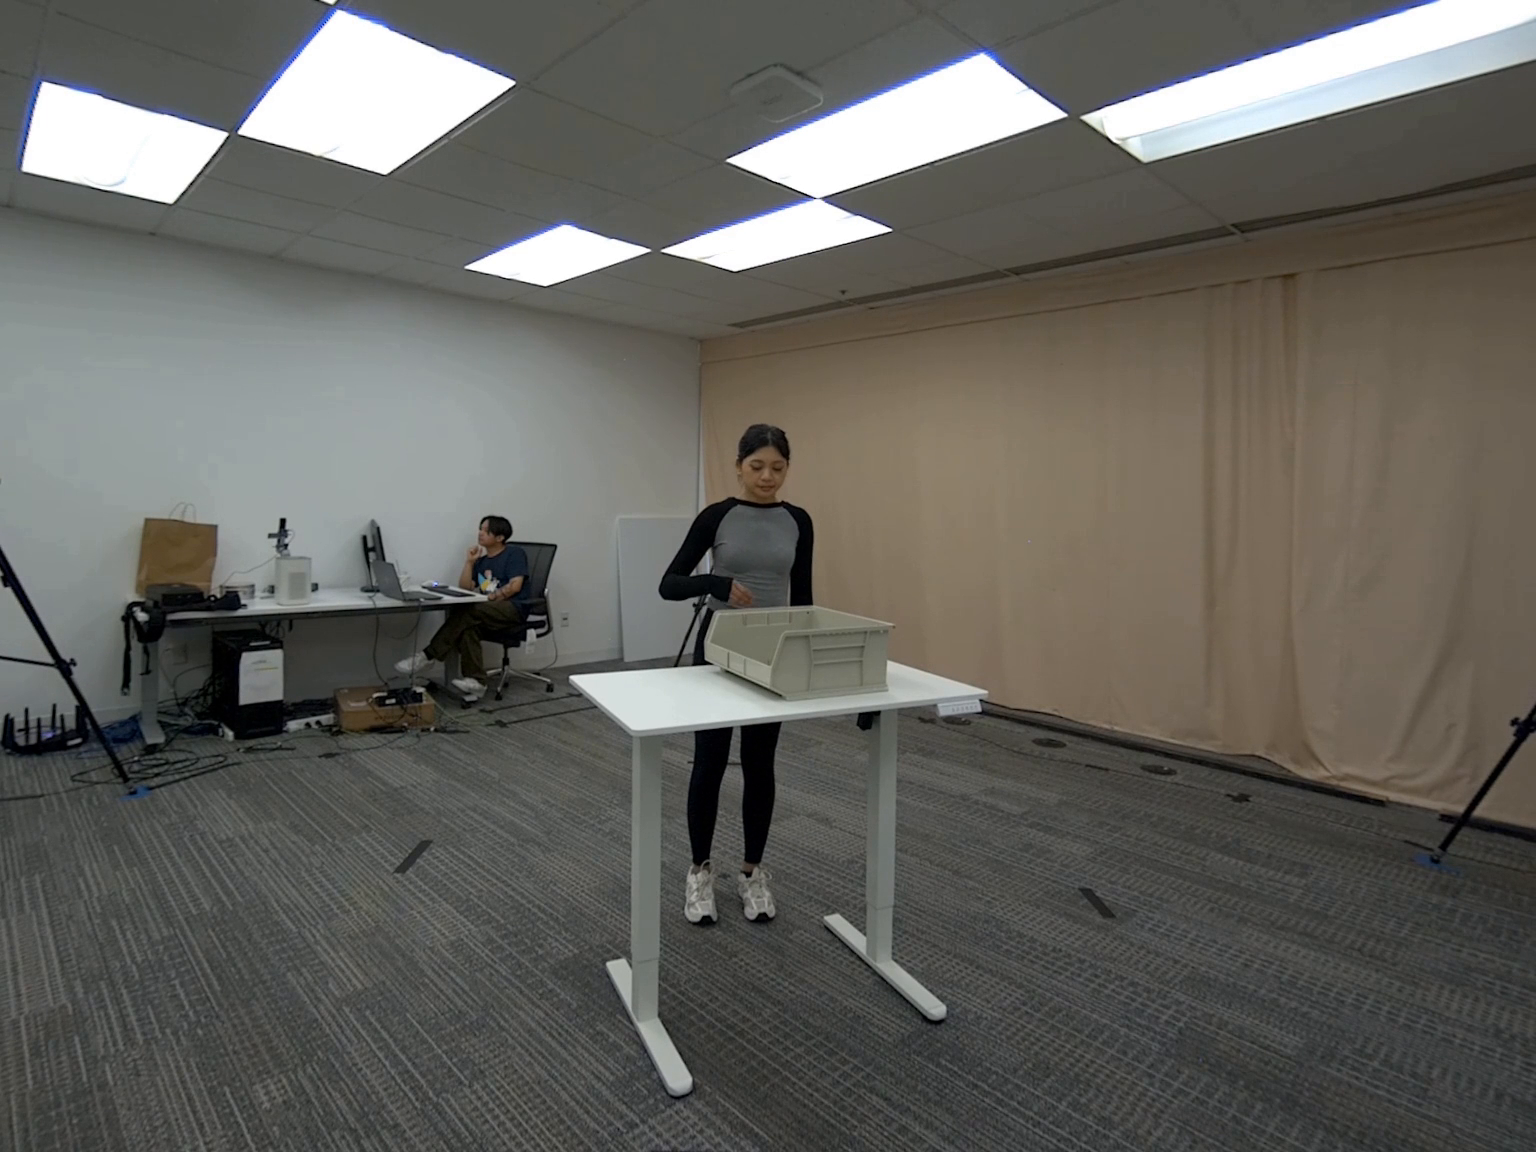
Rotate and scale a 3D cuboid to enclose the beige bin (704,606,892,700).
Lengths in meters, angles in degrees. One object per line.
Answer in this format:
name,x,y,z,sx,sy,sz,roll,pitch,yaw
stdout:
beige bin,0.068,0.214,2.360,0.370,0.188,0.431,-1,5,-27
